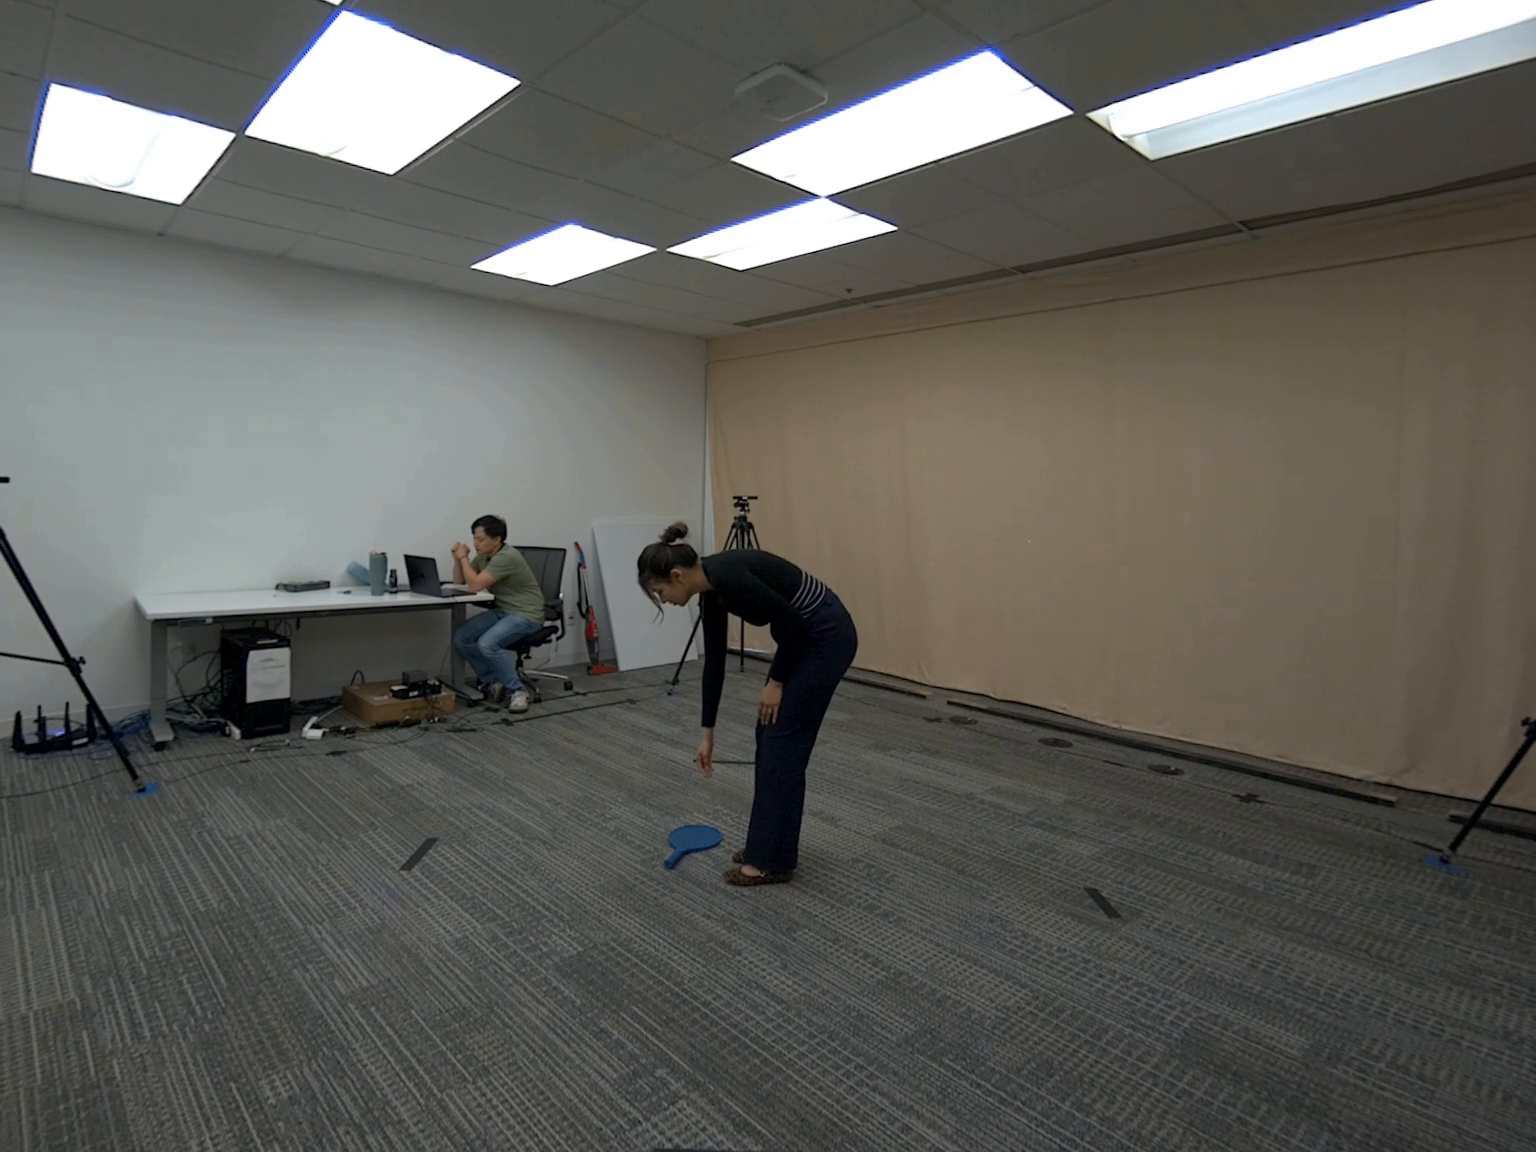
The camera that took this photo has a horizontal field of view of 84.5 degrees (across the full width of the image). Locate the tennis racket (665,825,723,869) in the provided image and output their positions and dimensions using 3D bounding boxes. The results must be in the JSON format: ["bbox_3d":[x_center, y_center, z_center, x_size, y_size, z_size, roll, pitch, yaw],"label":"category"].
[{"bbox_3d":[-0.317,1.063,3.340,0.216,0.032,0.429,3,4,12],"label":"tennis racket"}]
